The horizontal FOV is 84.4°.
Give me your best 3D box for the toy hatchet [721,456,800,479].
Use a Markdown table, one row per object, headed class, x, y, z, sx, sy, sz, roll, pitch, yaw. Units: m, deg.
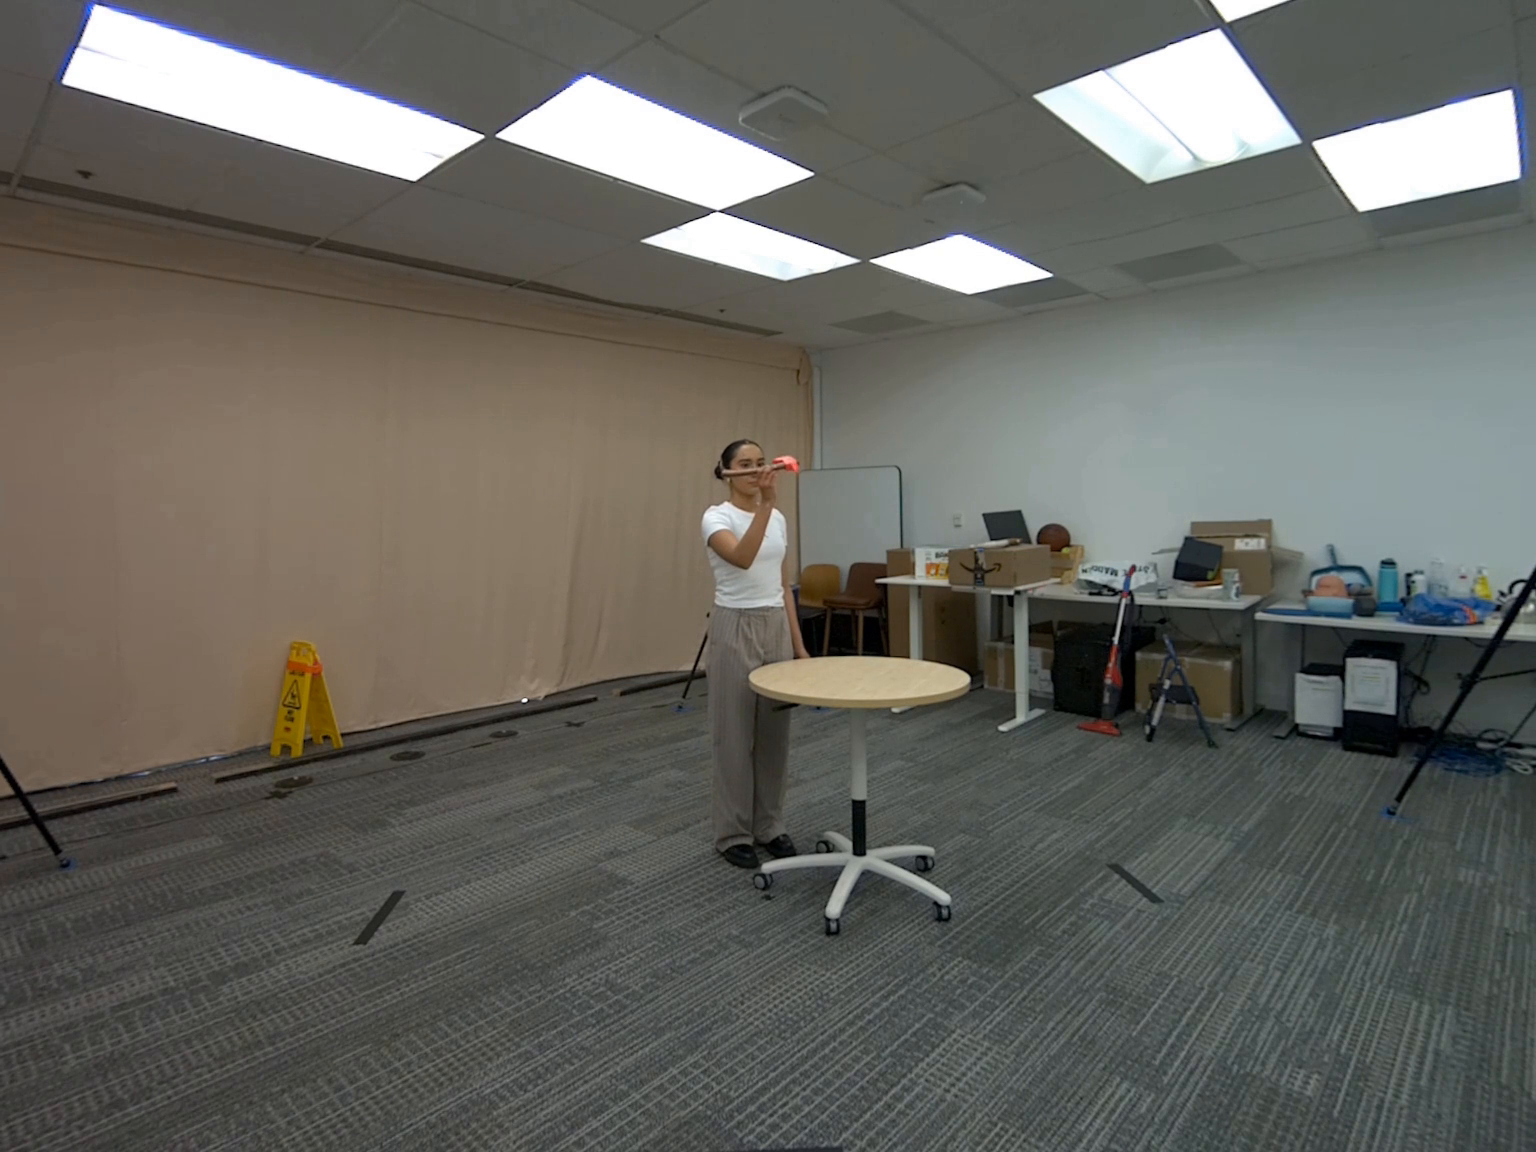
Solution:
| class | x | y | z | sx | sy | sz | roll | pitch | yaw |
| --- | --- | --- | --- | --- | --- | --- | --- | --- | --- |
| toy hatchet | -0.021 | -0.396 | 2.973 | 0.272 | 0.029 | 0.132 | 2 | 33 | 7 |
